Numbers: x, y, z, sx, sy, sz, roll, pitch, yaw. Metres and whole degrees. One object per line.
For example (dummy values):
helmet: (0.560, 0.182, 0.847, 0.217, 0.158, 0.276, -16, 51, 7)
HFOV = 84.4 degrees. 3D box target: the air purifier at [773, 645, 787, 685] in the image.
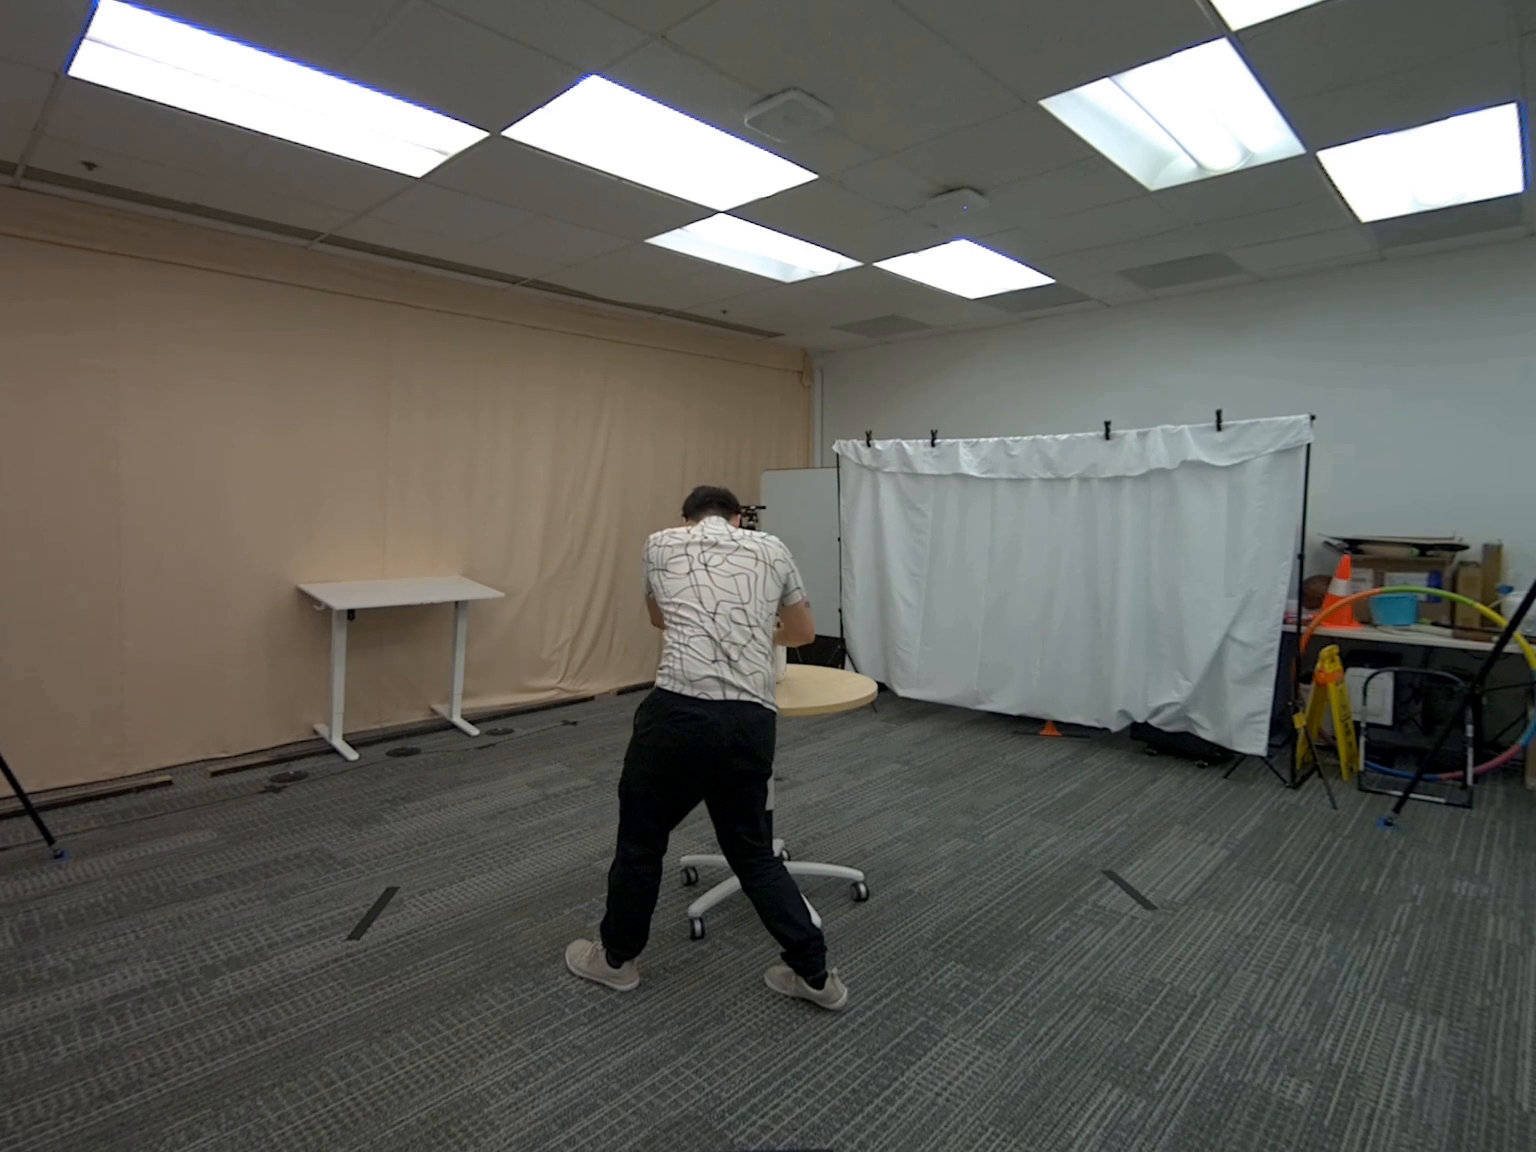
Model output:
air purifier: (-0.066, 0.278, 2.965, 0.268, 0.171, 0.170, 0, 5, 9)
